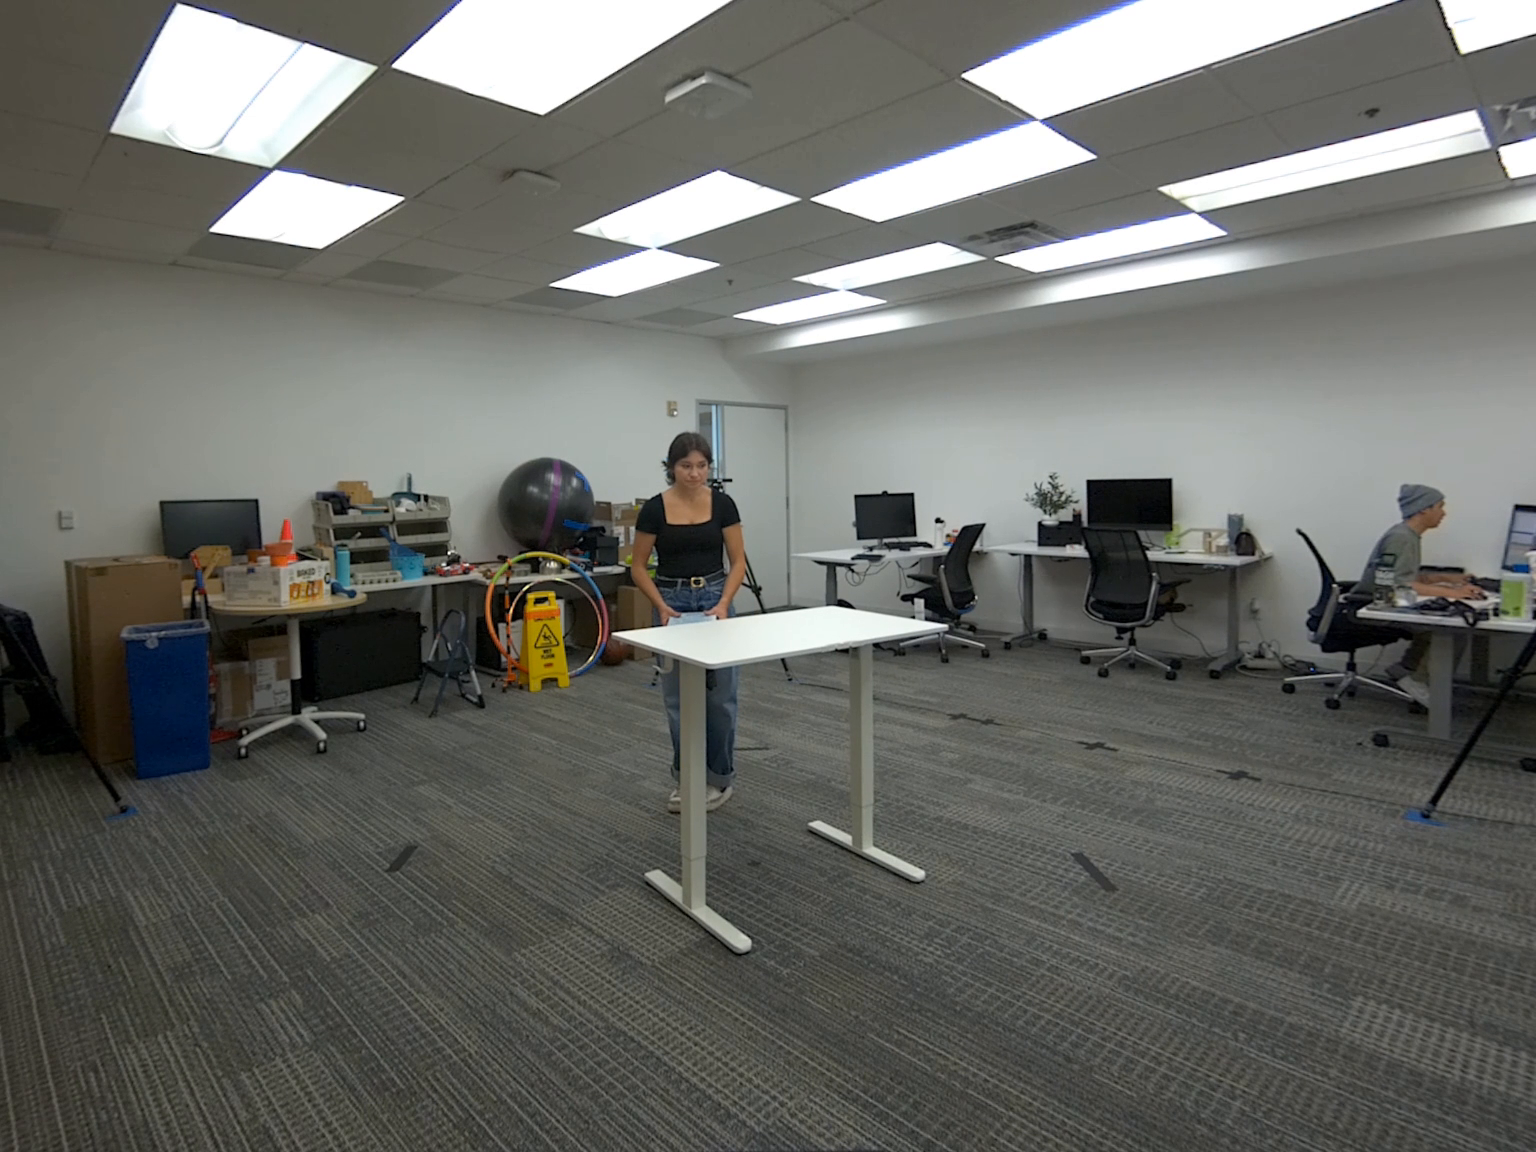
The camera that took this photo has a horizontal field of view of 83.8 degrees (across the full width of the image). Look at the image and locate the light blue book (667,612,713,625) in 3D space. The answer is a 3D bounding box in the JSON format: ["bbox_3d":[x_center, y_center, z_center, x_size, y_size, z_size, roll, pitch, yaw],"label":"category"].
[{"bbox_3d":[-0.262,0.214,3.367,0.191,0.058,0.264,-6,11,-3],"label":"light blue book"}]
